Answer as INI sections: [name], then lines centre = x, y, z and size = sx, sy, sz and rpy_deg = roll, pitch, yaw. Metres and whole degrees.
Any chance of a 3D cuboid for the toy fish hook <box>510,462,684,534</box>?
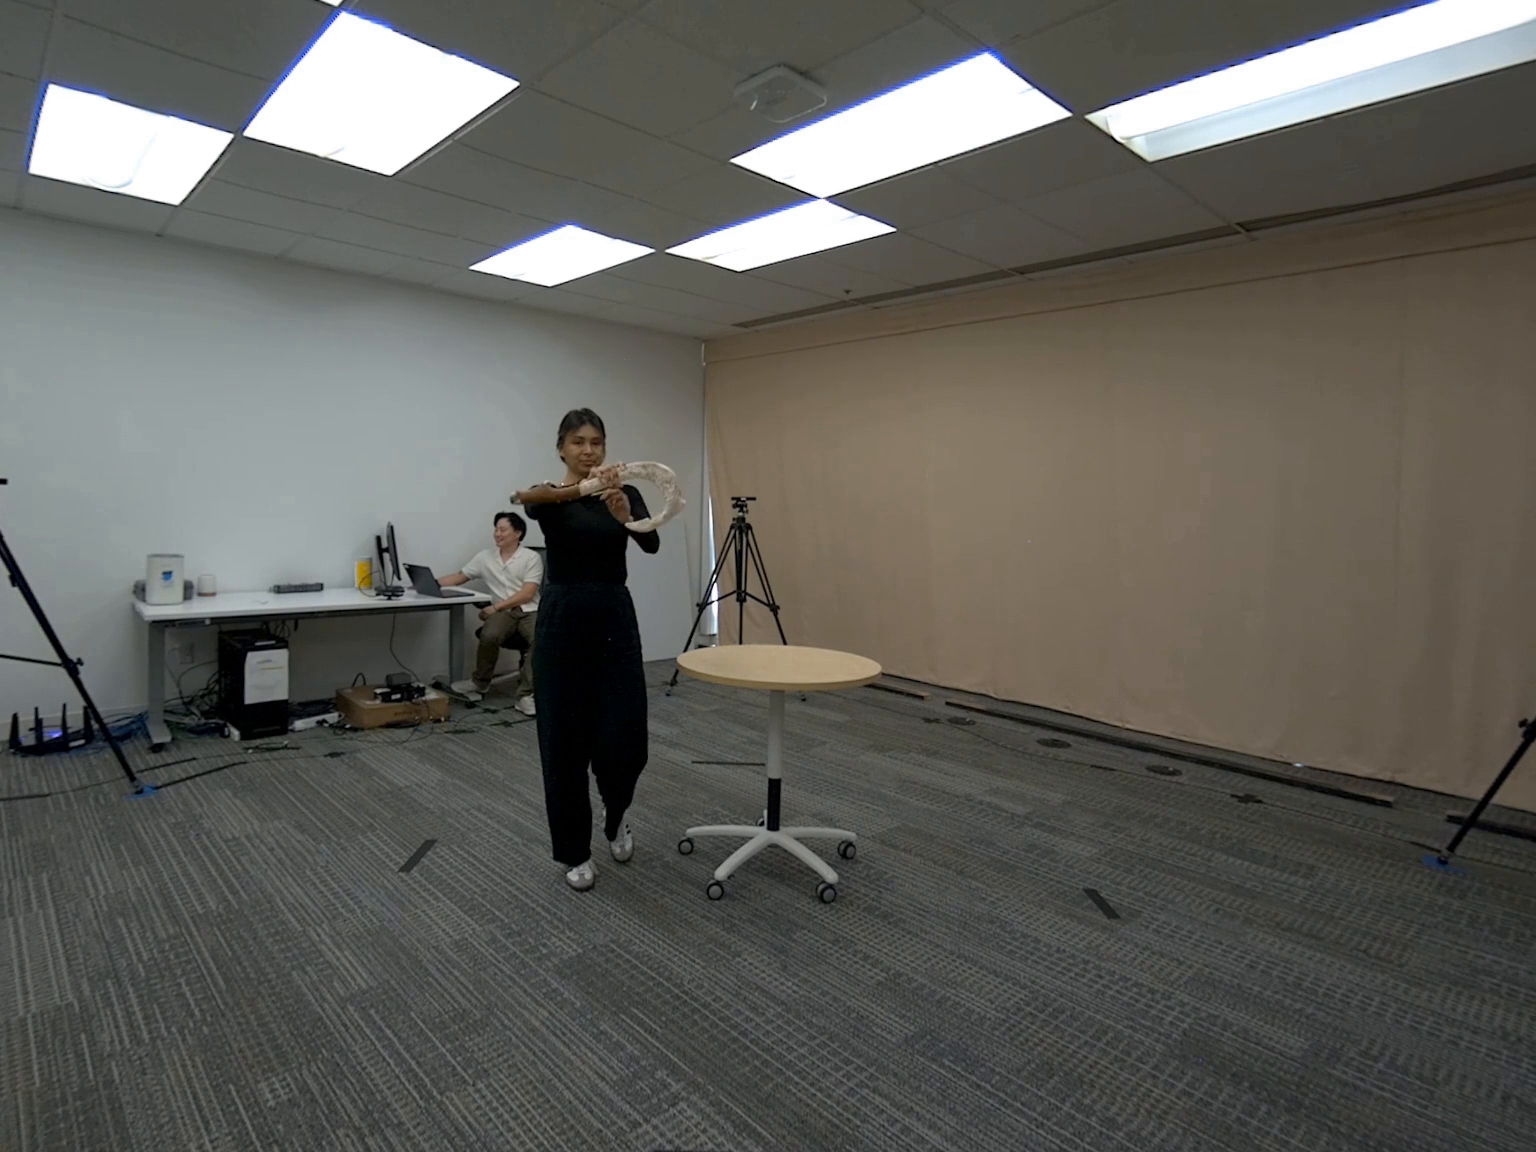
[toy fish hook]
centre = -0.507, -0.214, 2.482
size = 0.501, 0.229, 0.048
rpy_deg = -12, -21, -16
